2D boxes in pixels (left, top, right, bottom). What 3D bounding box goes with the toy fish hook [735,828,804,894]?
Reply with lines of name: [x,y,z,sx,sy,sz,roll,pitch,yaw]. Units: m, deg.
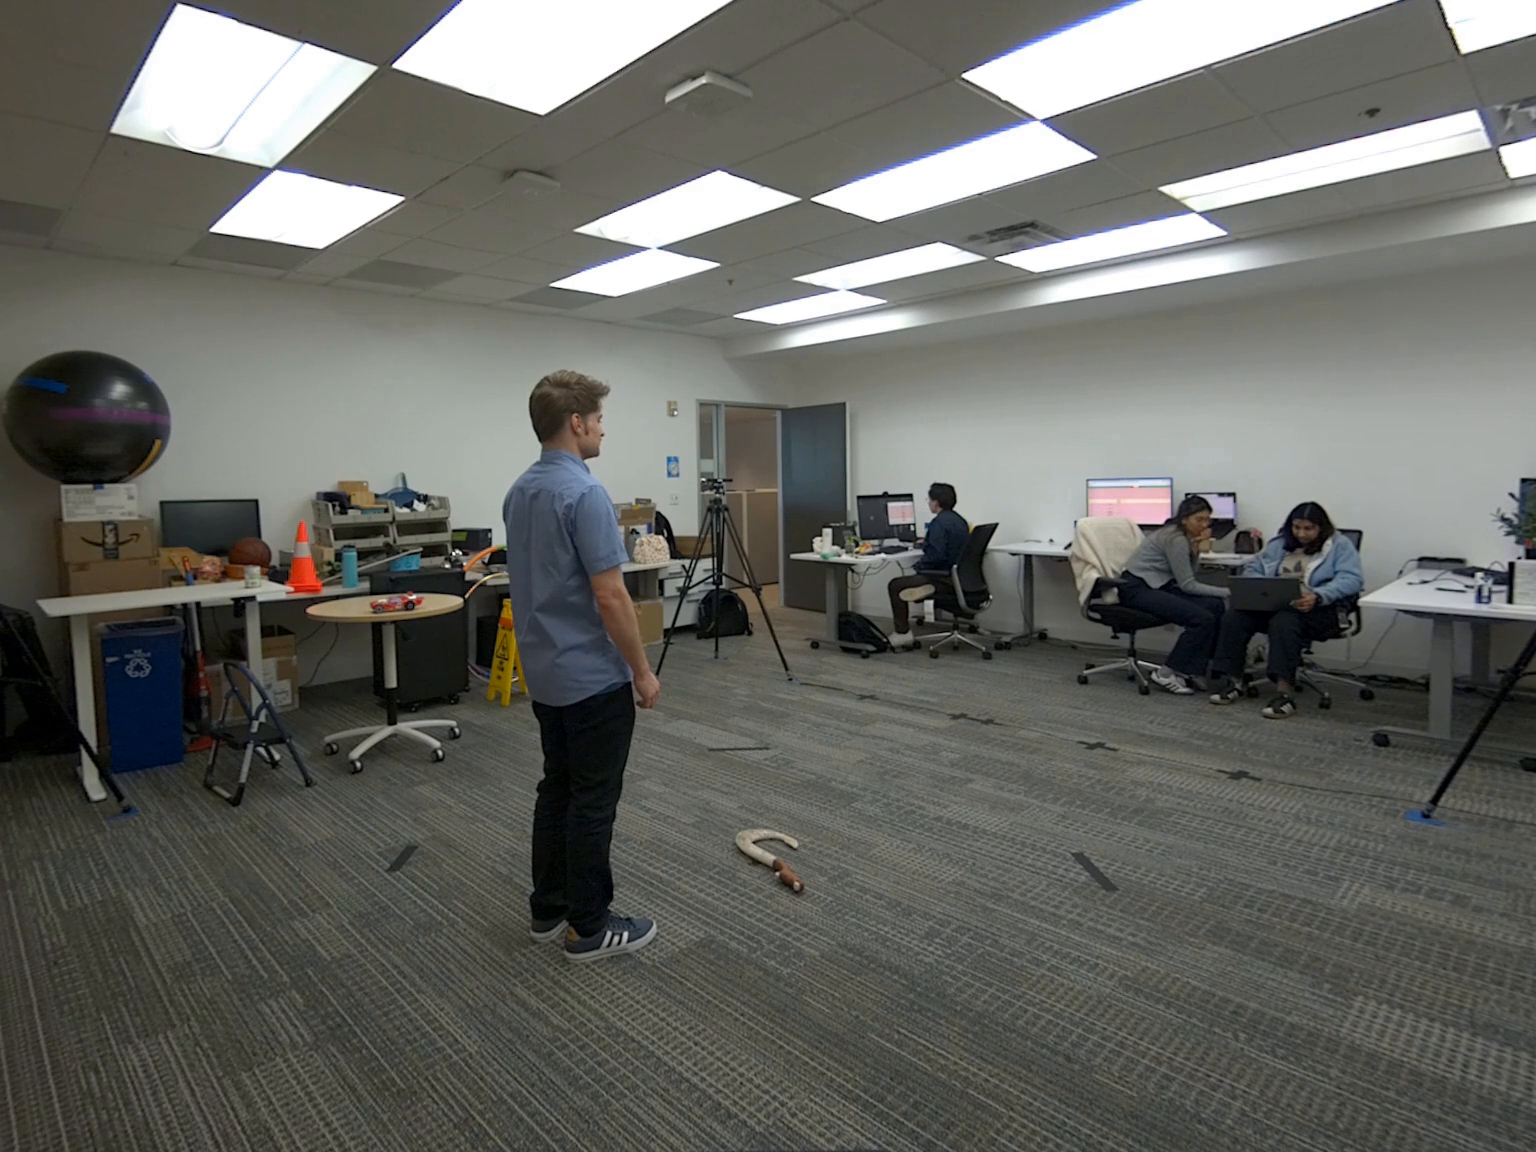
toy fish hook: [0.053,1.021,3.110,0.220,0.048,0.519,-5,8,-23]
